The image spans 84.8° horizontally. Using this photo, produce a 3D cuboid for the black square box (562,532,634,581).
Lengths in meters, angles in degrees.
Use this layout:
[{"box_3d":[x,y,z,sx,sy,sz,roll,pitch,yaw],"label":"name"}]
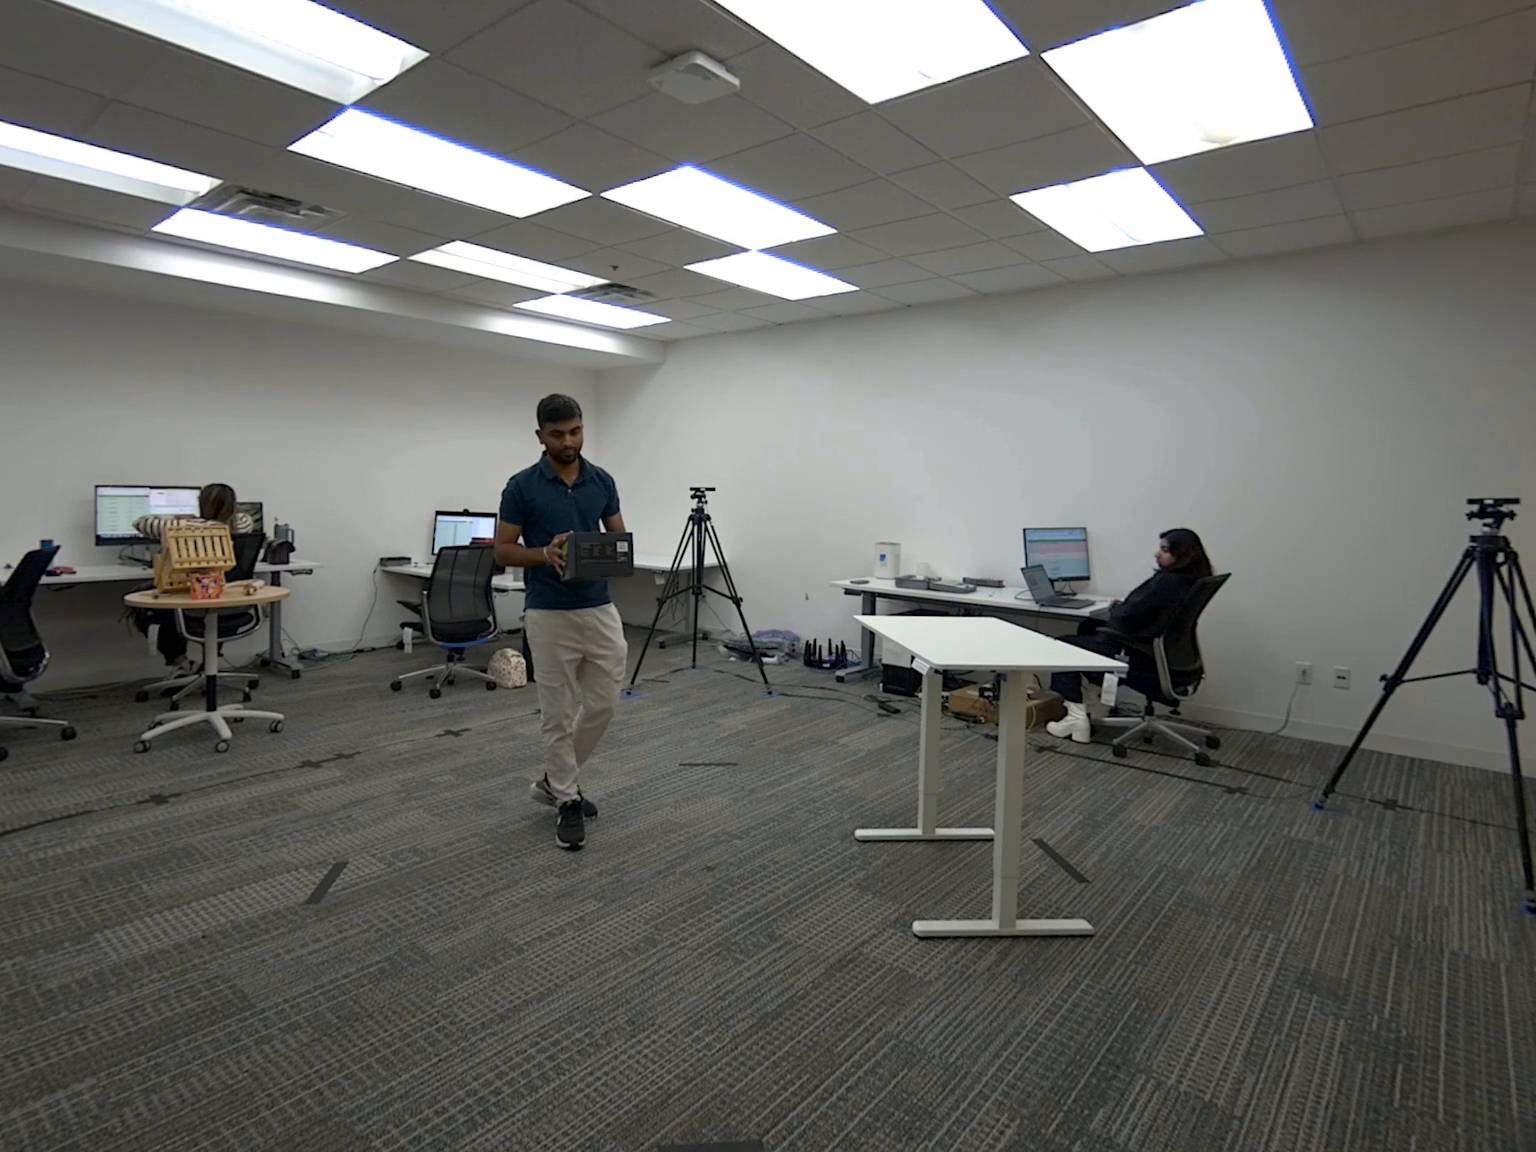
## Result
[{"box_3d":[-0.639,-0.074,3.076,0.212,0.157,0.232,-1,-4,-26],"label":"black square box"}]
